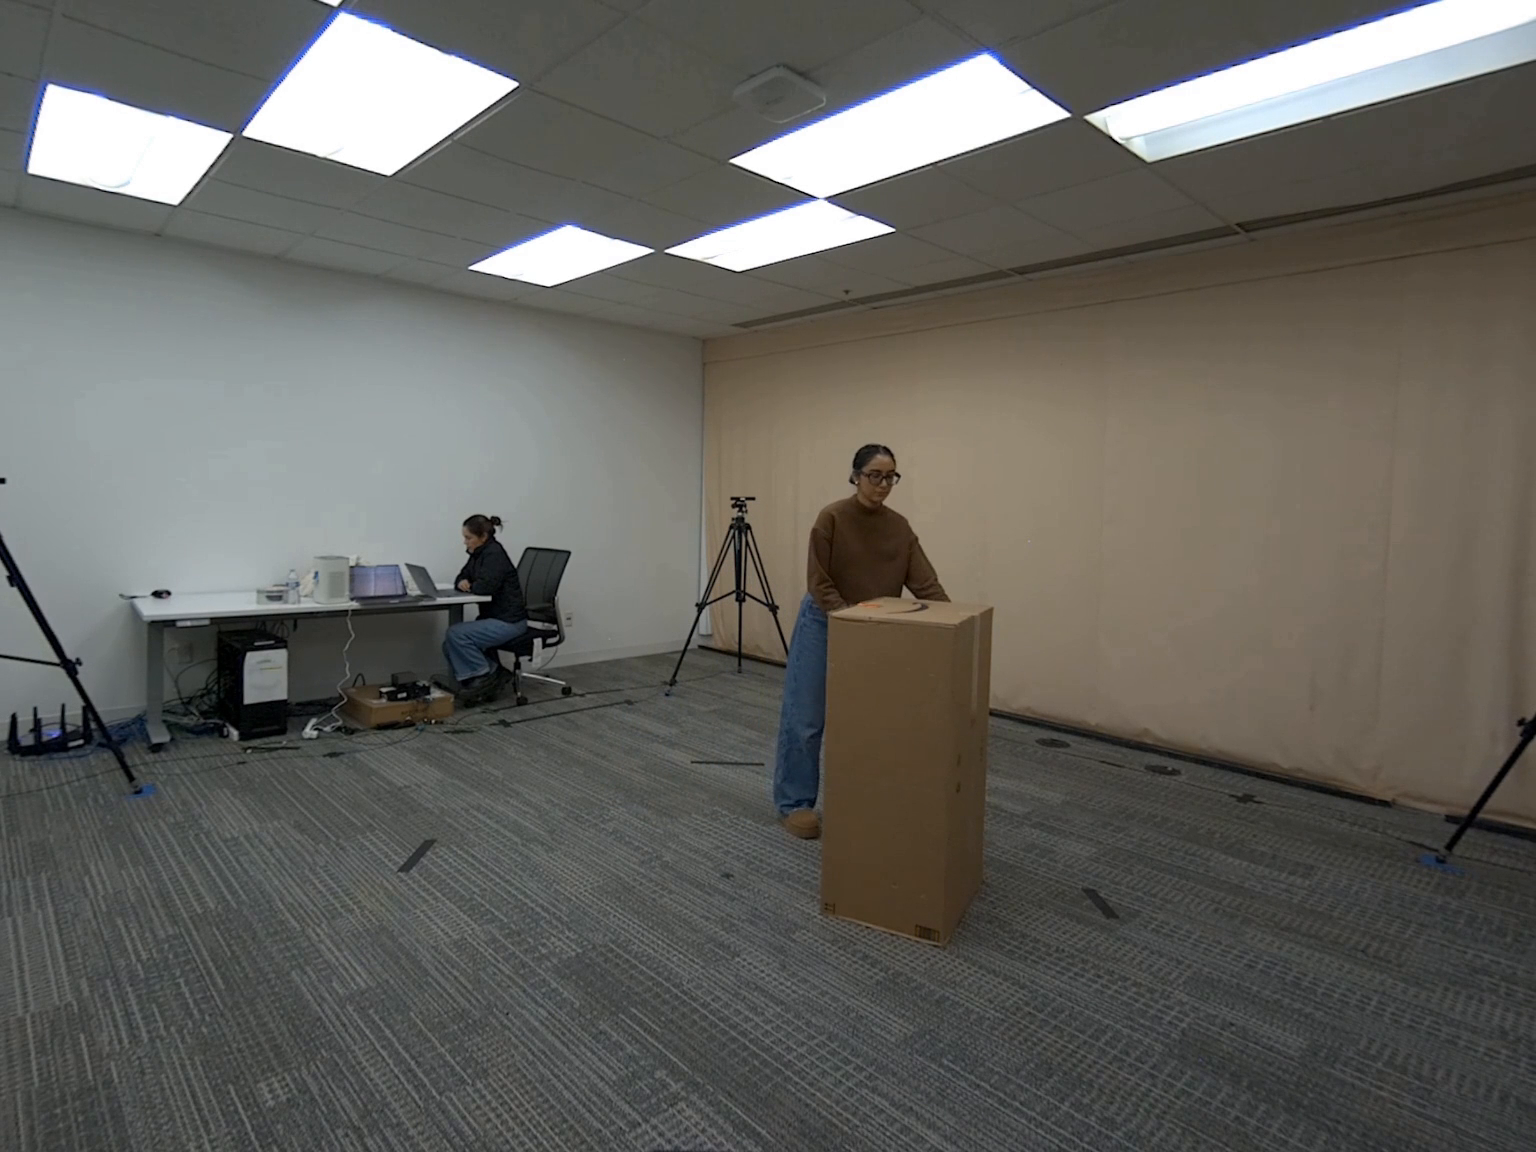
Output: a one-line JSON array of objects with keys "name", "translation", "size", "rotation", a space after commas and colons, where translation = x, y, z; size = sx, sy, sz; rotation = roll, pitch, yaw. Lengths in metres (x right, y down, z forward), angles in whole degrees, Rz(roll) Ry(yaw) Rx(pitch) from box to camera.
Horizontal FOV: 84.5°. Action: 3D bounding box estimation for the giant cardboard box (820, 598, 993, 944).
[{"name": "giant cardboard box", "translation": [0.495, 0.625, 2.949], "size": [0.435, 1.023, 0.567], "rotation": [3, 4, 28]}]
